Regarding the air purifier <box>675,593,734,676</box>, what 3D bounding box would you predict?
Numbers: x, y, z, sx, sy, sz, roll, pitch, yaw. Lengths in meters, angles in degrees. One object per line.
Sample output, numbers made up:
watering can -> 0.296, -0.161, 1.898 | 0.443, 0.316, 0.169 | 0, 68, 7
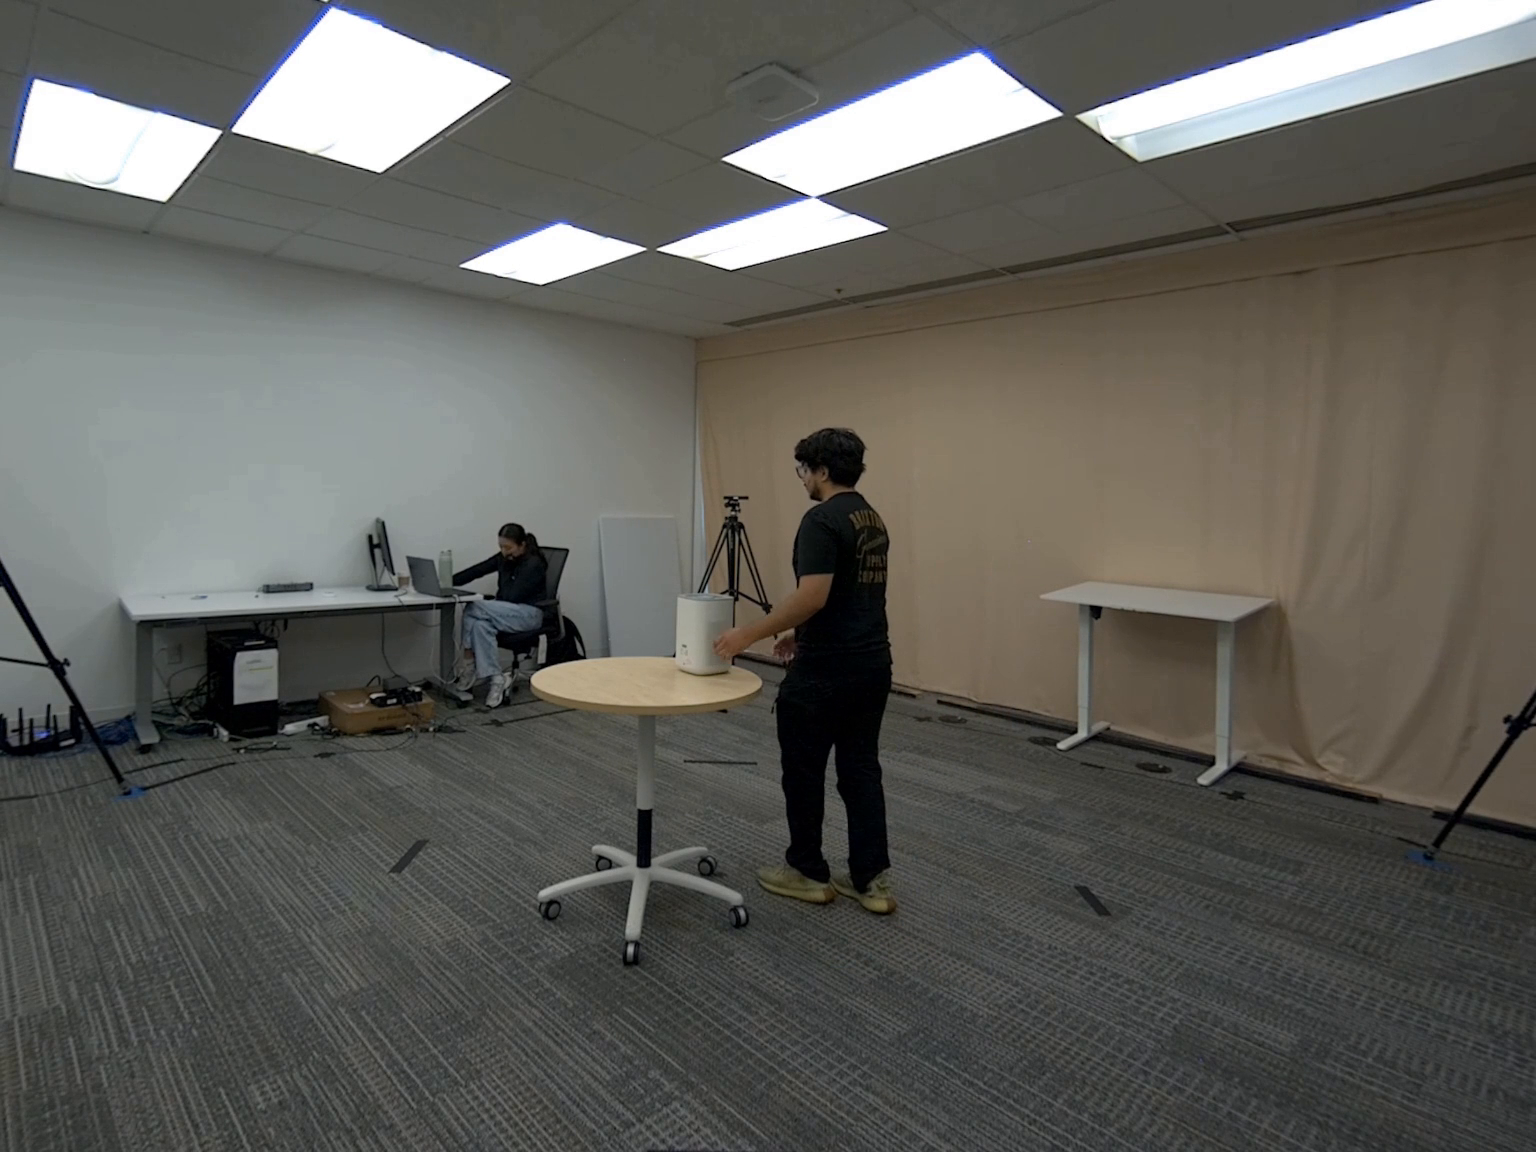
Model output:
air purifier -> -0.222, 0.200, 2.957 | 0.167, 0.265, 0.175 | 0, 3, -41
